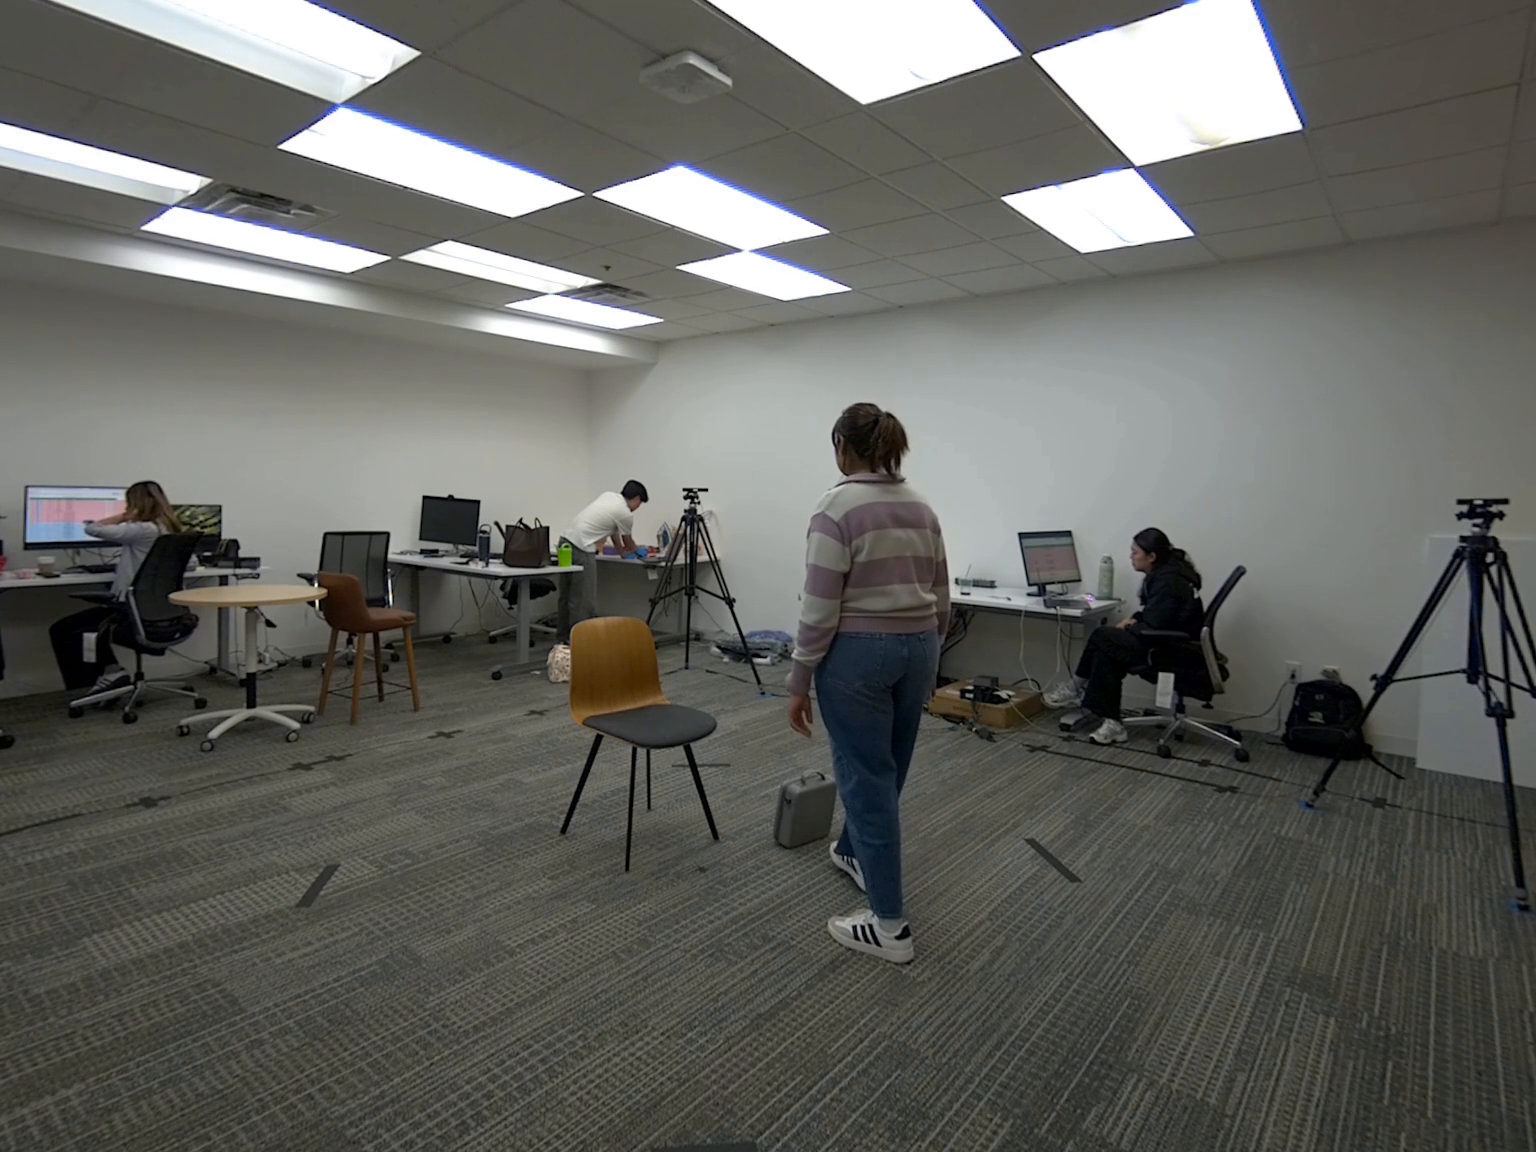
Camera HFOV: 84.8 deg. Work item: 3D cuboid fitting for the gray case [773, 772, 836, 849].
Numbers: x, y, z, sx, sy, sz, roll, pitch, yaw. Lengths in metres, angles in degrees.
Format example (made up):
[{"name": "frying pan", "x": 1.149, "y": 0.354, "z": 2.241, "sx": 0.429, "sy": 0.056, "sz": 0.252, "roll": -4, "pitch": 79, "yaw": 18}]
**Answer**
[{"name": "gray case", "x": 0.138, "y": 0.913, "z": 3.378, "sx": 0.249, "sy": 0.259, "sz": 0.108, "roll": -1, "pitch": 10, "yaw": -35}]
